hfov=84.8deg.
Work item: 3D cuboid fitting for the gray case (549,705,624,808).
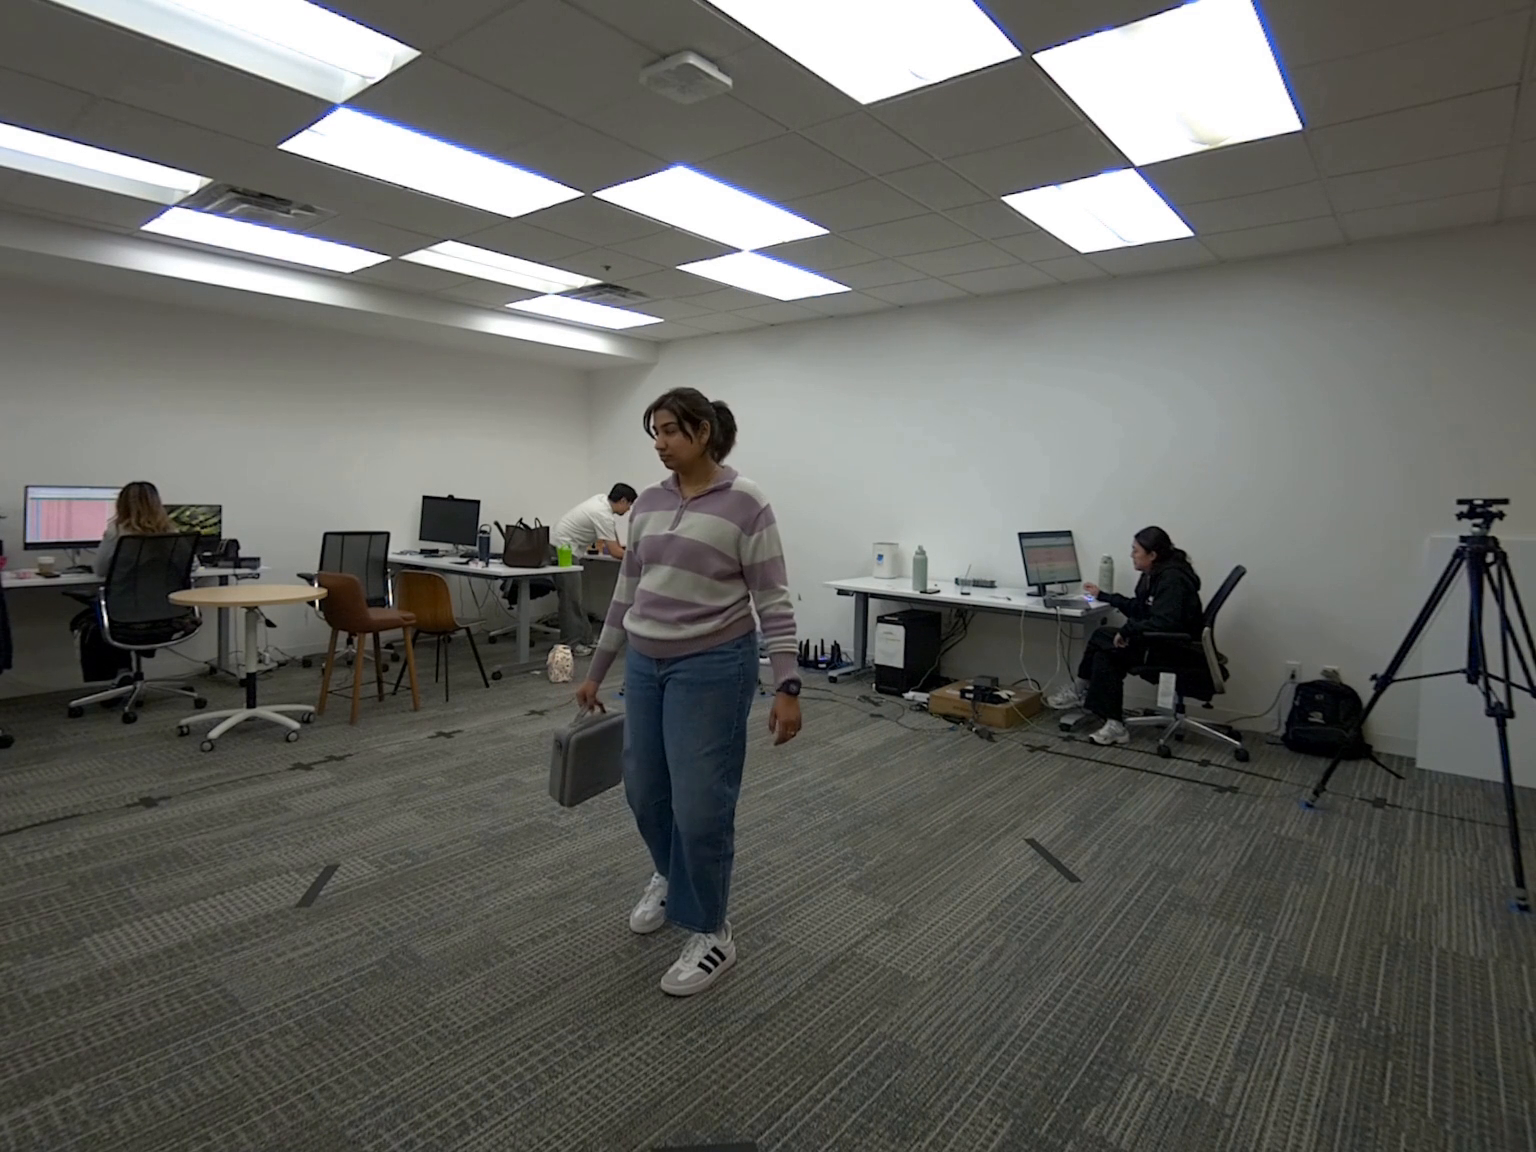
[{"bbox_3d":[-0.567,0.561,2.665,0.108,0.258,0.250,14,15,33],"label":"gray case"}]
